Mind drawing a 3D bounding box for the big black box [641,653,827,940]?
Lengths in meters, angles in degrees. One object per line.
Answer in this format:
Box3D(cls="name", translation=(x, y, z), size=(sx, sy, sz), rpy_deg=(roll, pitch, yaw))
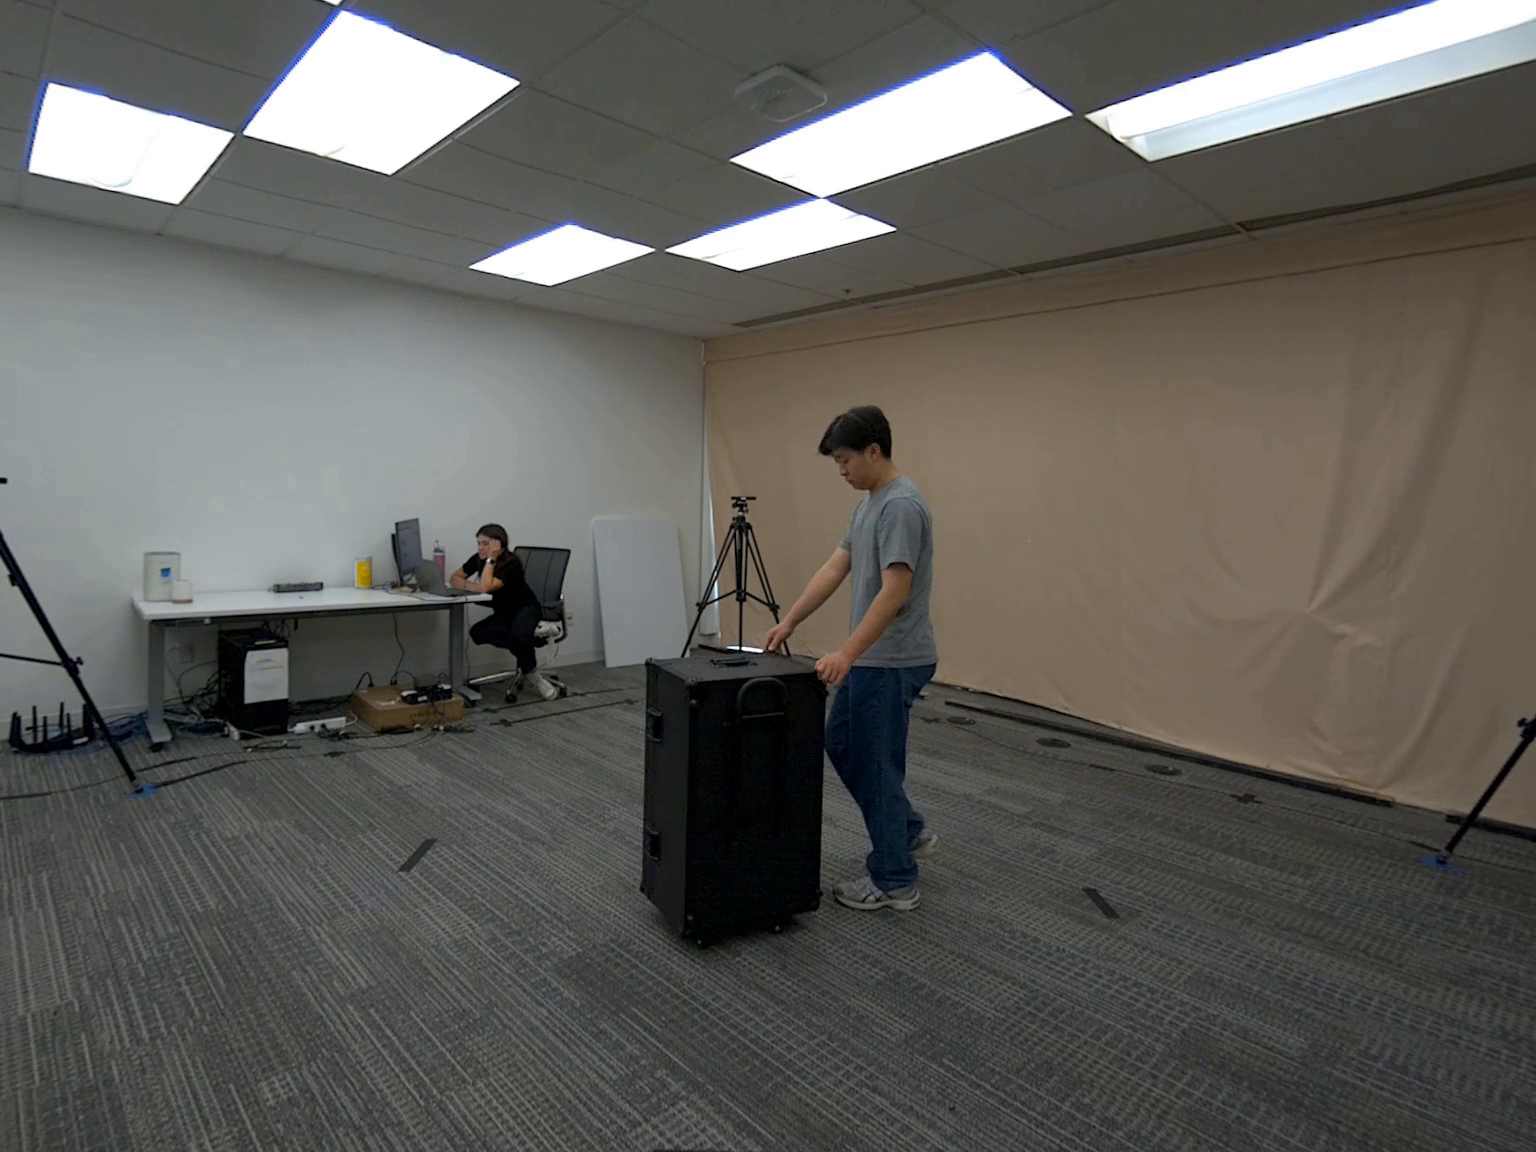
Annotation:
Box3D(cls="big black box", translation=(-0.108, 0.716, 2.739), size=(0.511, 0.859, 0.405), rpy_deg=(0, 5, -28))
